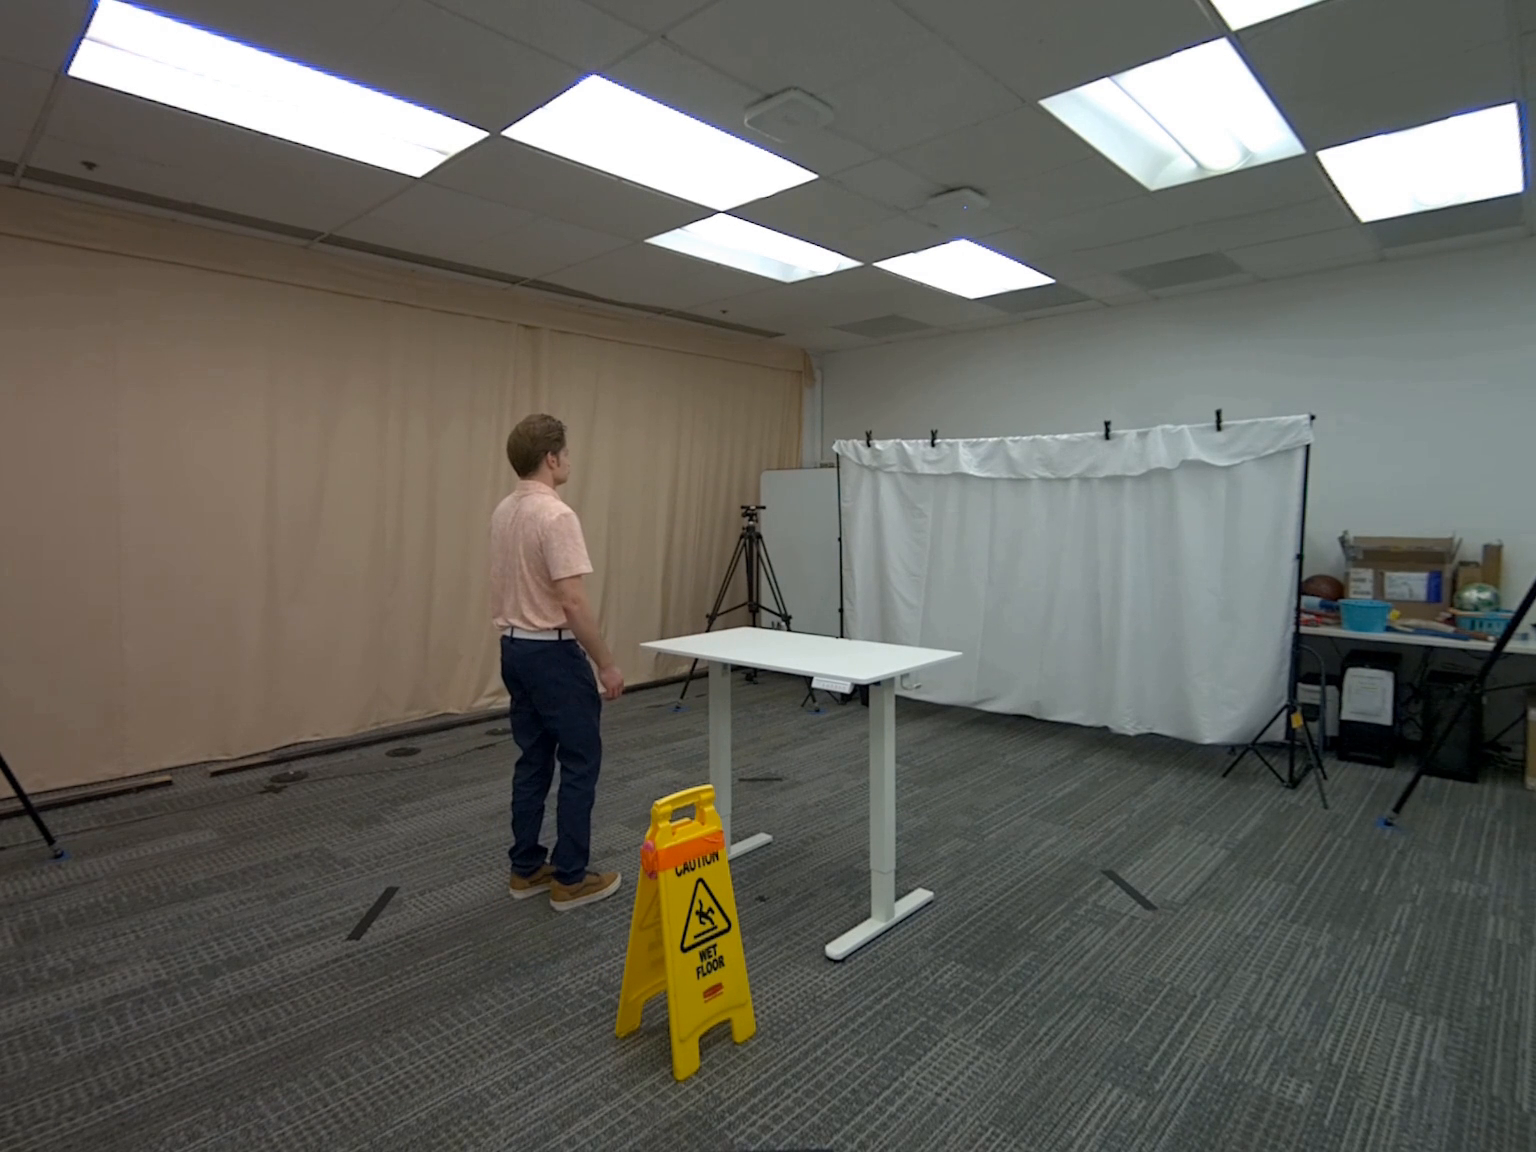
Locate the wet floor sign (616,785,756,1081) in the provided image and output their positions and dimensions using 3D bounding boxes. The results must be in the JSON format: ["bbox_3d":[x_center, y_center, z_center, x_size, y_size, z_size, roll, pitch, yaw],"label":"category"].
[{"bbox_3d":[-0.222,0.889,2.201,0.299,0.645,0.273,1,2,43],"label":"wet floor sign"}]
